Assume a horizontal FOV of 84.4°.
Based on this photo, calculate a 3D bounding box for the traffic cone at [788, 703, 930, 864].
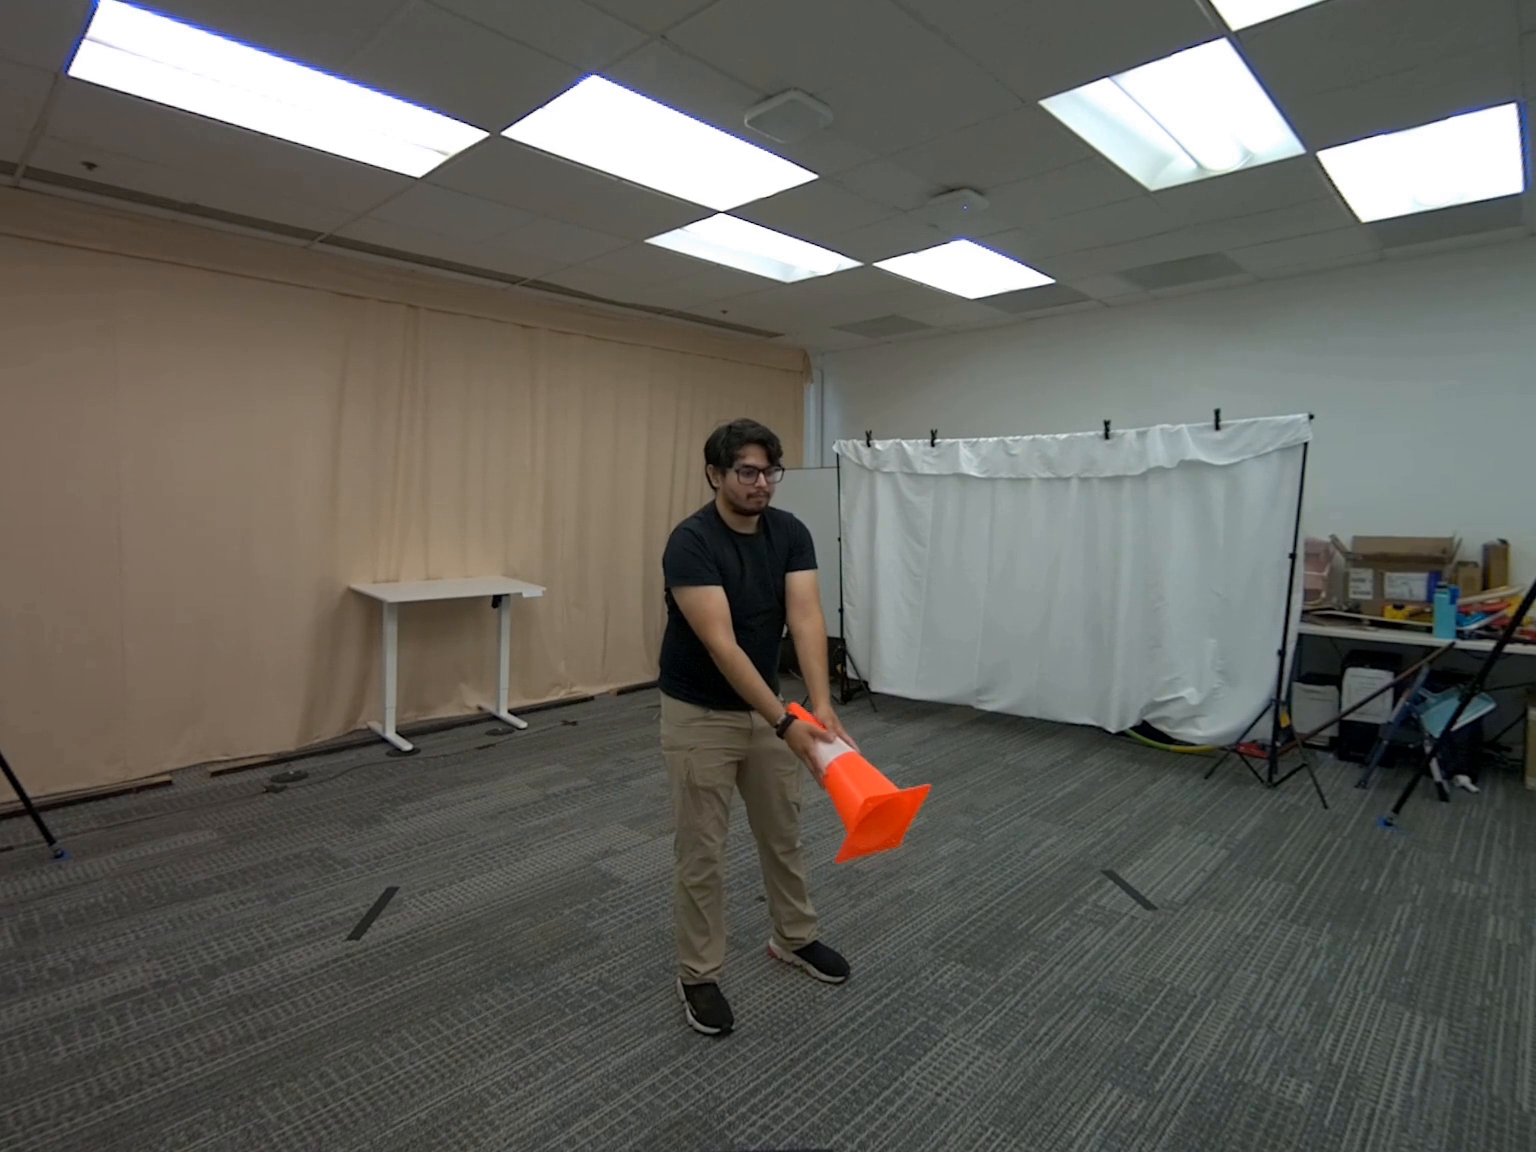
[{"bbox_3d":[0.155,0.441,1.963,0.197,0.204,0.397,1,33,-31],"label":"traffic cone"}]
